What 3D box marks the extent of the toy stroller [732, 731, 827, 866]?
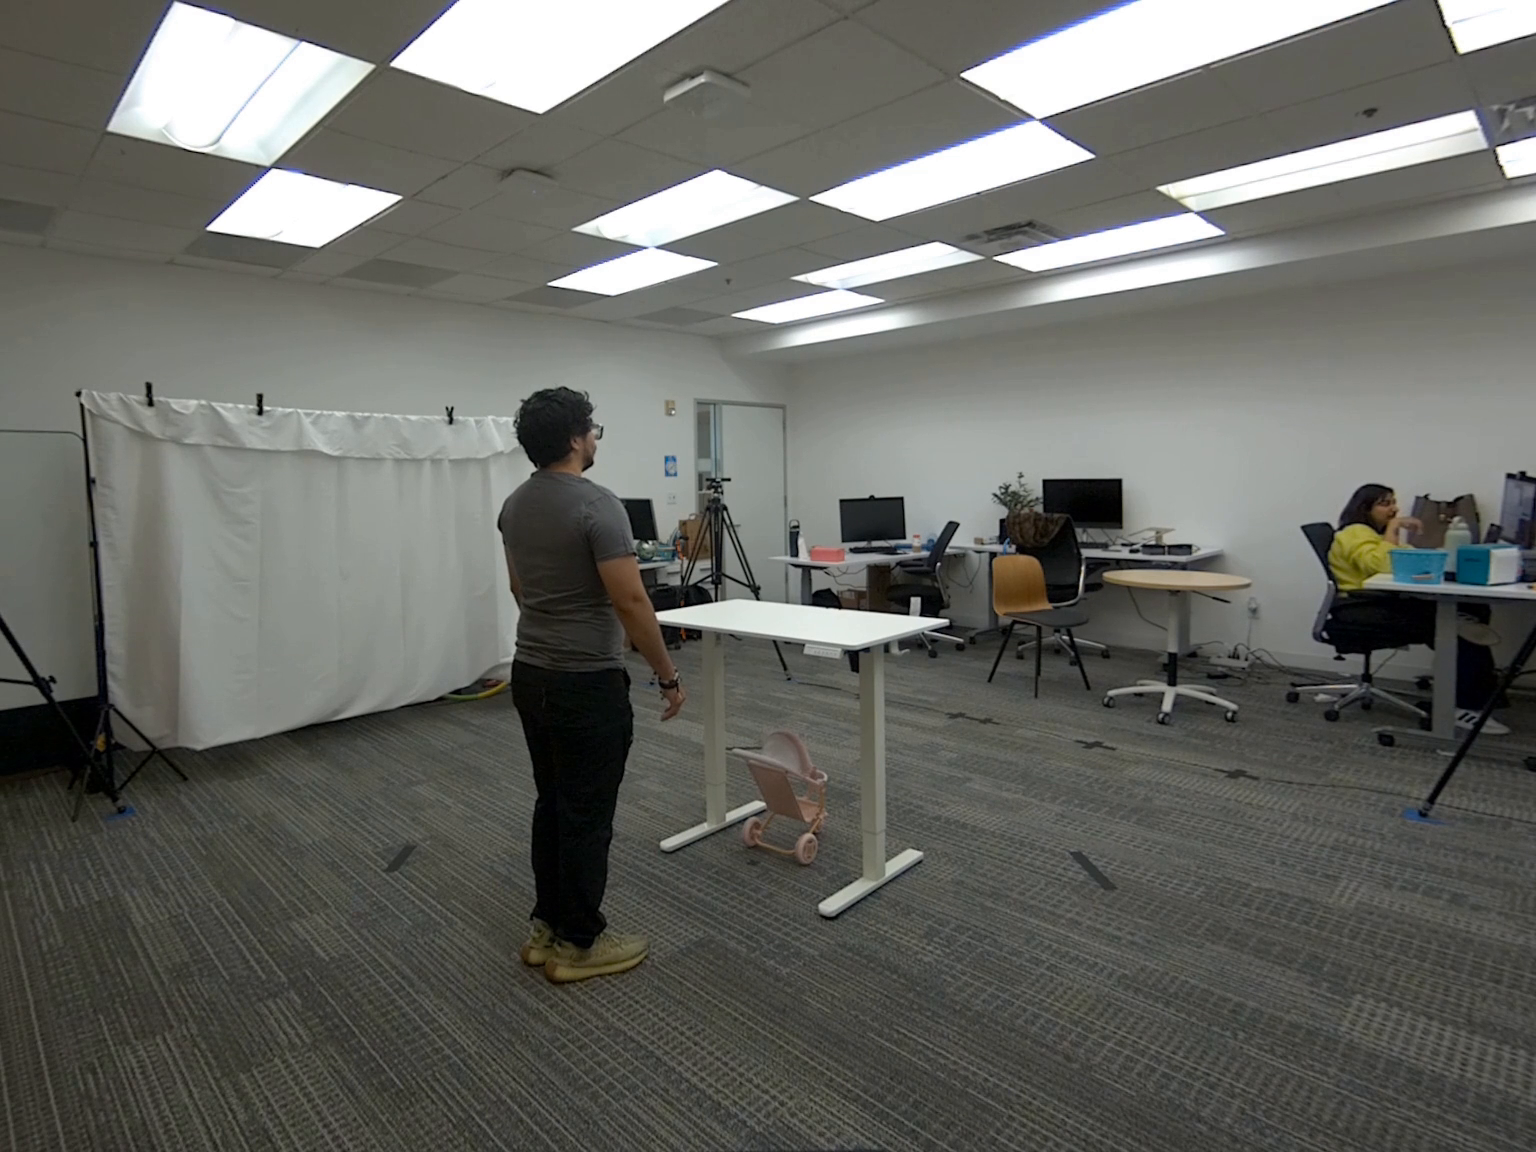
[{"bbox_3d":[0.078,0.808,3.206,0.290,0.526,0.337,4,23,43],"label":"toy stroller"}]
